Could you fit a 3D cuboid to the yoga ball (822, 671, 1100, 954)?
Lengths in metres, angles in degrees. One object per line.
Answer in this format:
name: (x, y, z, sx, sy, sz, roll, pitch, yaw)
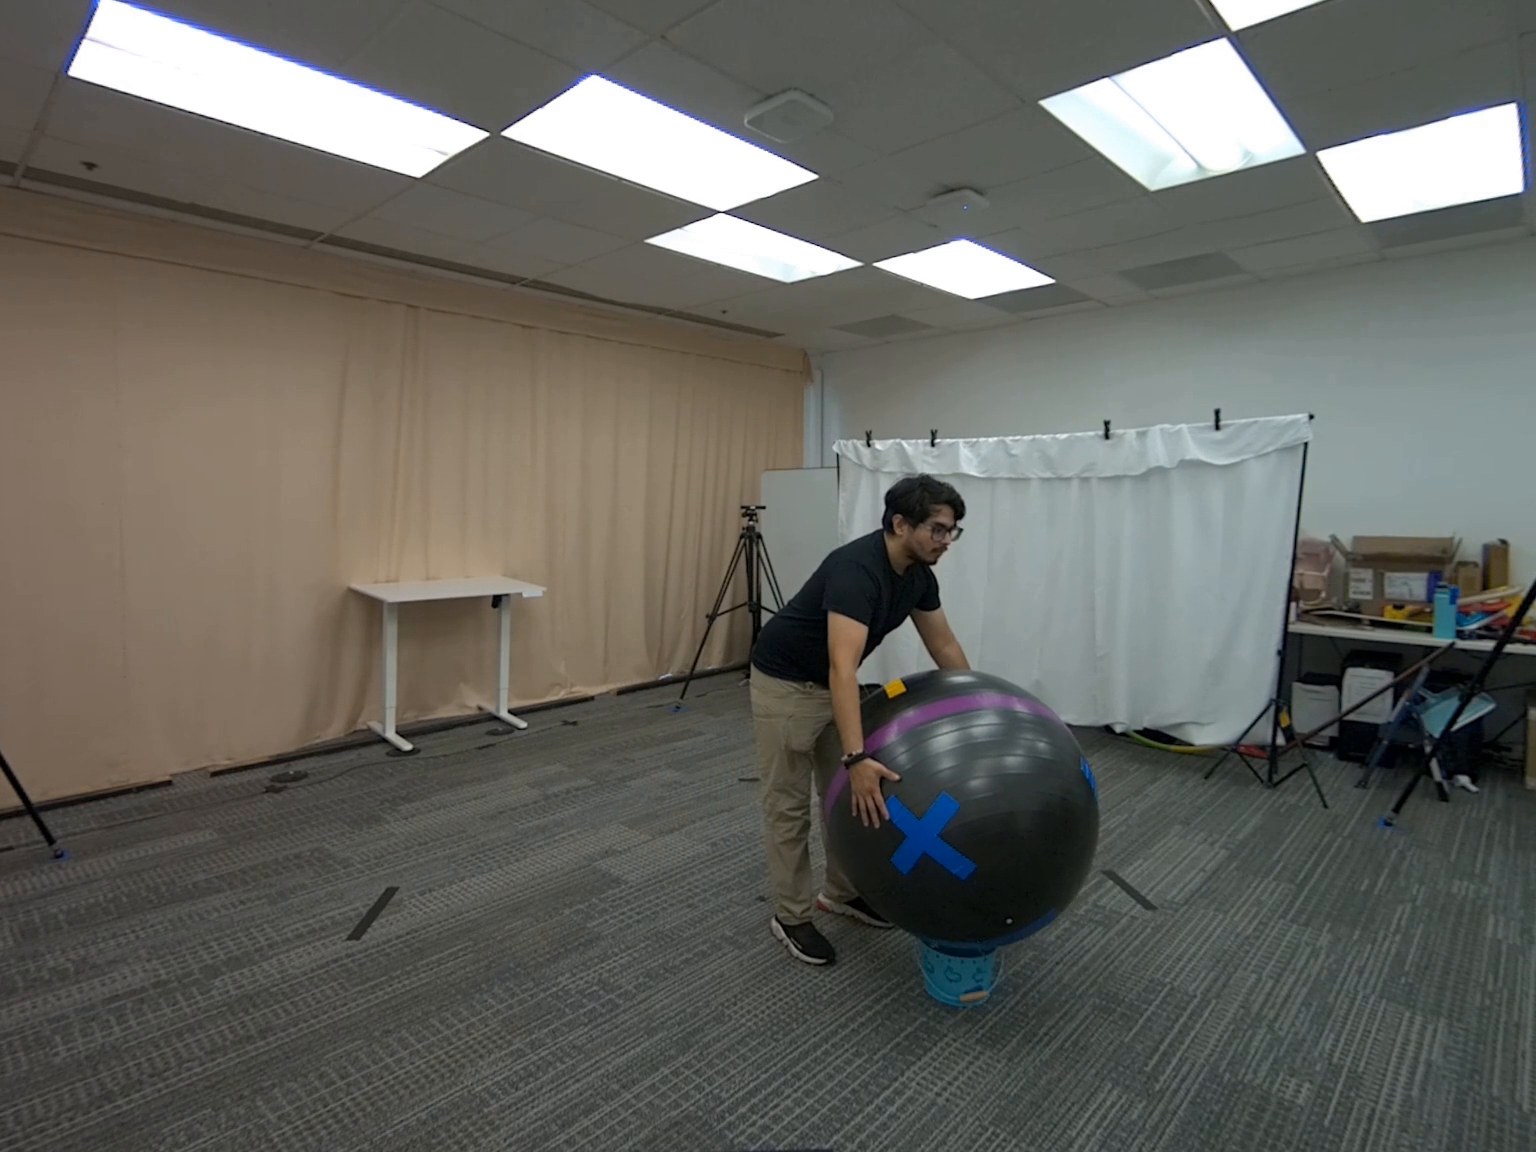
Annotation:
yoga ball: (0.546, 0.653, 2.408, 0.757, 0.756, 0.760, 0, 4, -2)
